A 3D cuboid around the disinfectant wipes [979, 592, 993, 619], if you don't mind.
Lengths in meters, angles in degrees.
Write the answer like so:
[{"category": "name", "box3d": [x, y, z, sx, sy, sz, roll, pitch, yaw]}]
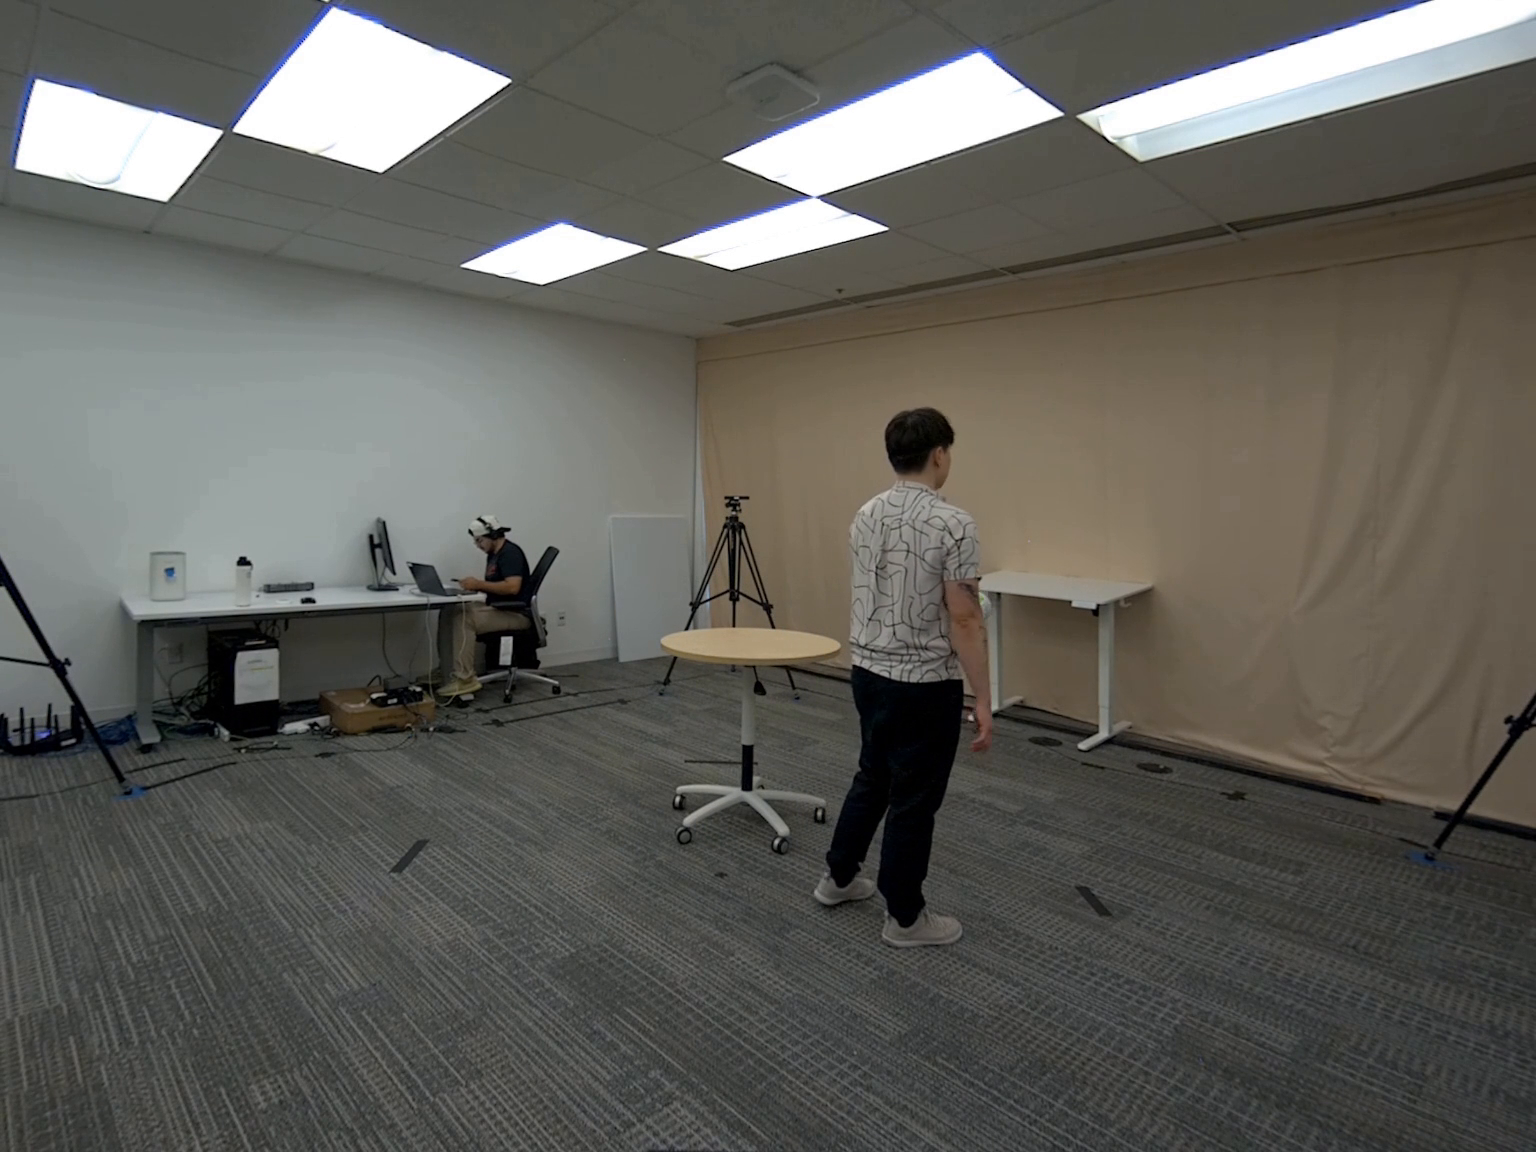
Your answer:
[{"category": "disinfectant wipes", "box3d": [0.660, 0.134, 2.871, 0.120, 0.116, 0.215, 4, 19, 35]}]
